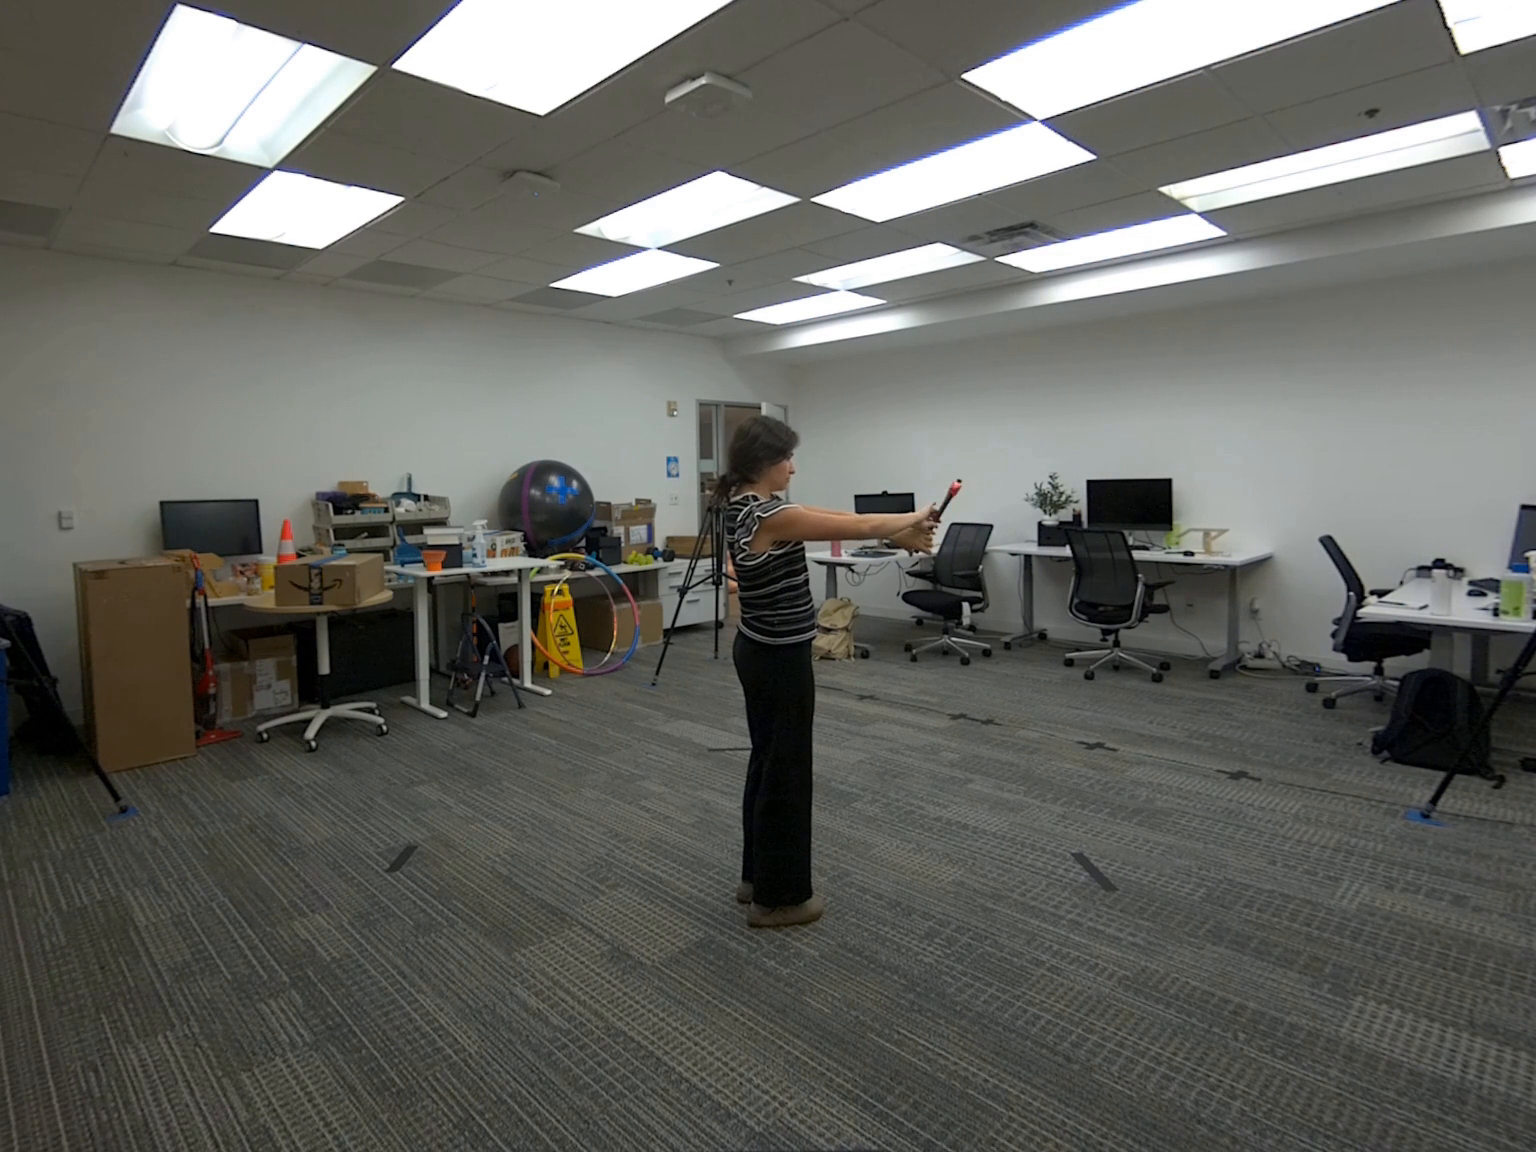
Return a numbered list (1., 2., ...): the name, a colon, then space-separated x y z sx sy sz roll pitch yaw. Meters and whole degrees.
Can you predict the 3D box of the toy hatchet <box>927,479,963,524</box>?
1. toy hatchet: 0.555 -0.196 2.756 0.030 0.267 0.131 31 29 5
